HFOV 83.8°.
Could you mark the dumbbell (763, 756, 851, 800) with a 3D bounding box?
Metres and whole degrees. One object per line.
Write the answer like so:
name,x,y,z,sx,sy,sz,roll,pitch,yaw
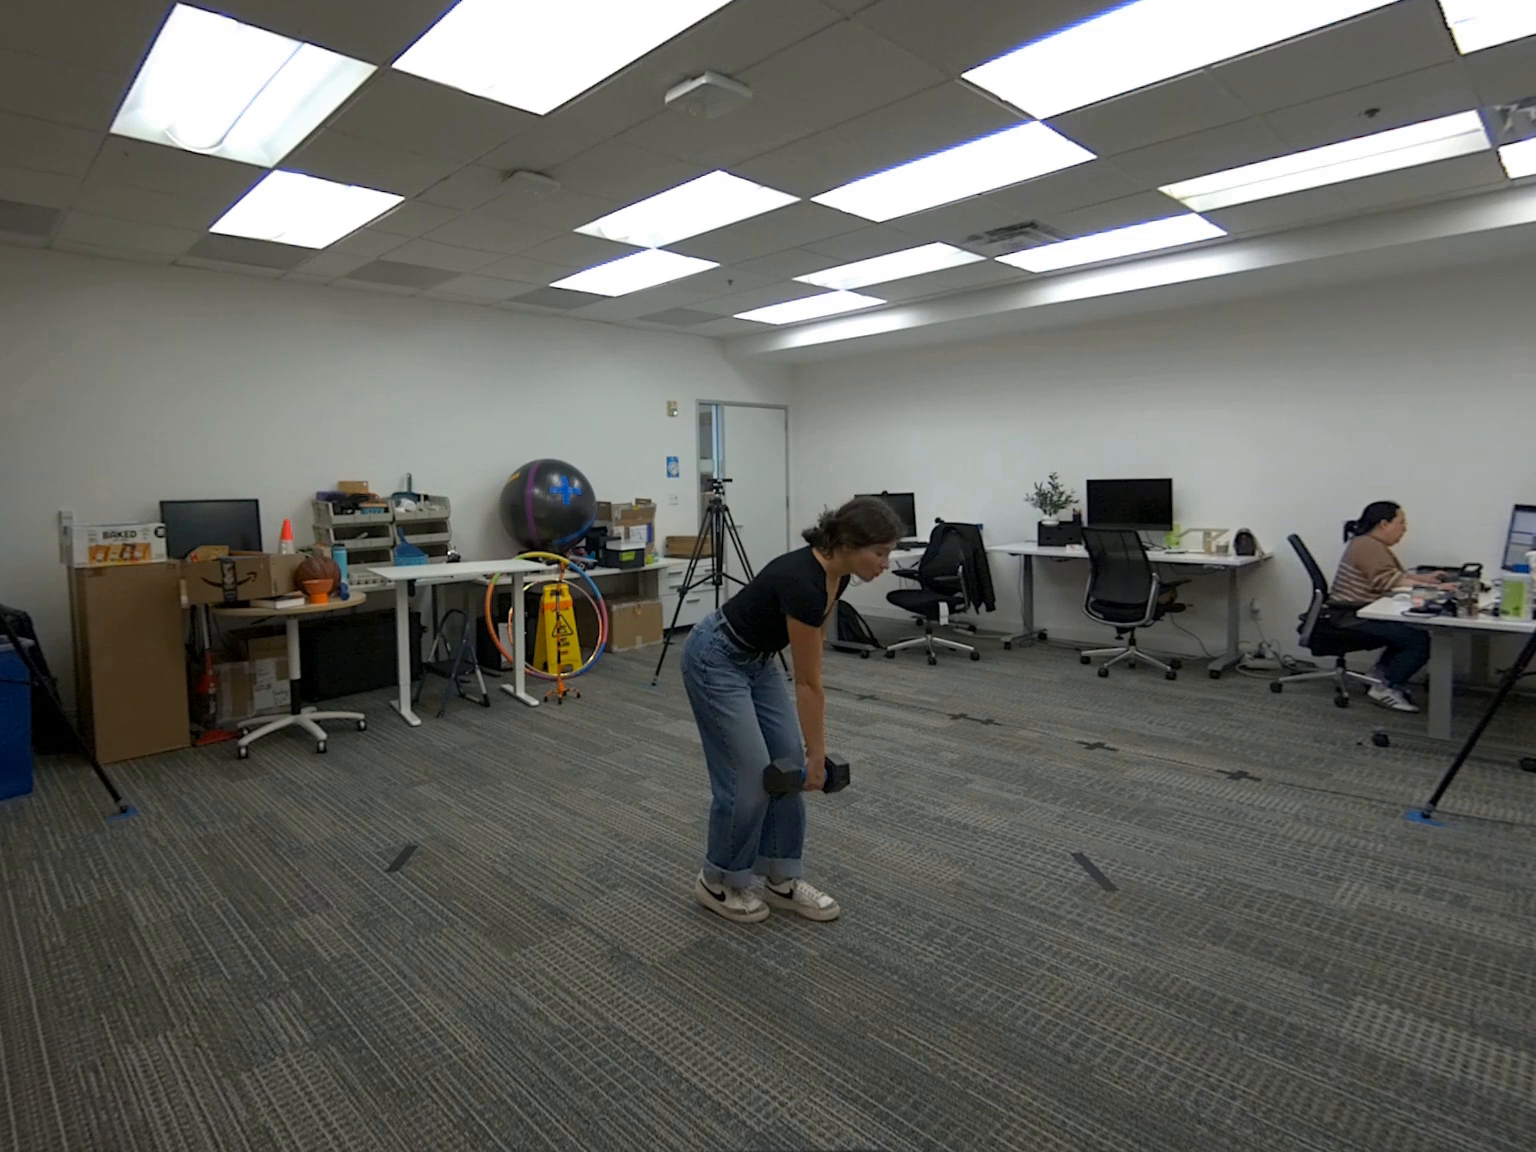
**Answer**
dumbbell,0.114,0.620,2.648,0.285,0.112,0.123,4,-38,-41
